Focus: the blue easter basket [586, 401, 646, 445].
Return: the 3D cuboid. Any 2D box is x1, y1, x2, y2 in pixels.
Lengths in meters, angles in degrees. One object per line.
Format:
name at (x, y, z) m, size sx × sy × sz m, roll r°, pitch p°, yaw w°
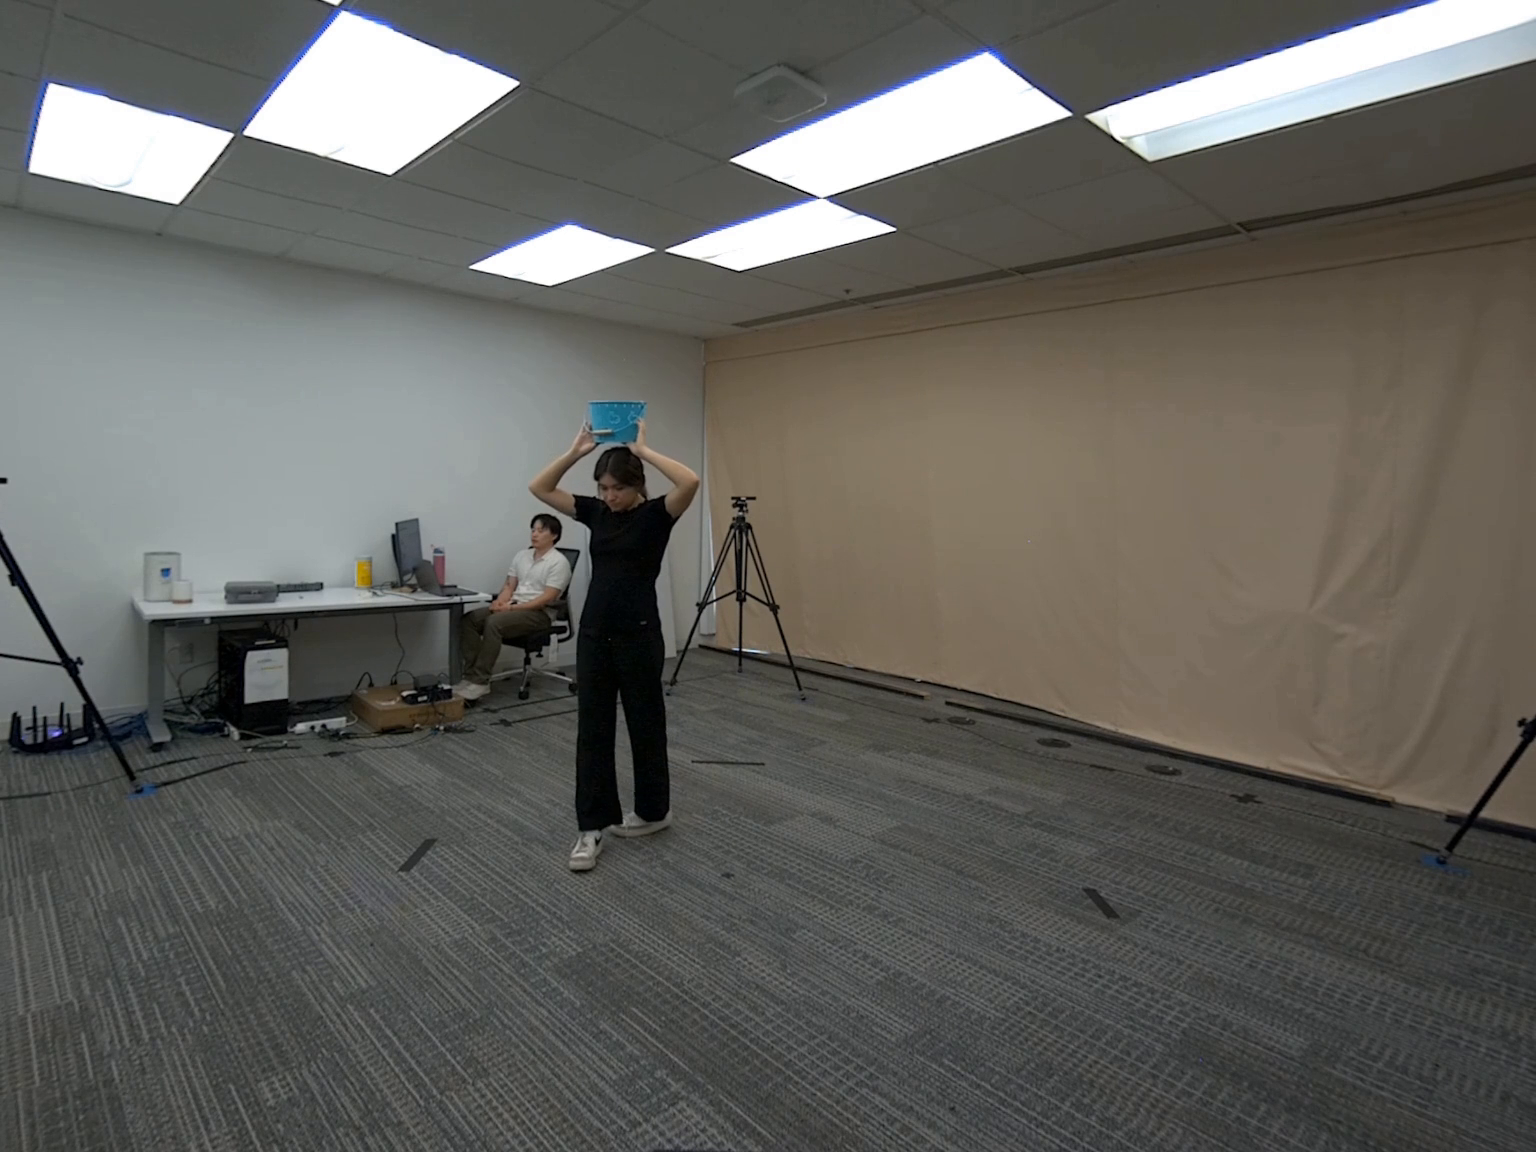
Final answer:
blue easter basket at (-0.606, -0.592, 3.241) m, size 0.243 × 0.155 × 0.245 m, roll 1°, pitch 8°, yaw -2°
